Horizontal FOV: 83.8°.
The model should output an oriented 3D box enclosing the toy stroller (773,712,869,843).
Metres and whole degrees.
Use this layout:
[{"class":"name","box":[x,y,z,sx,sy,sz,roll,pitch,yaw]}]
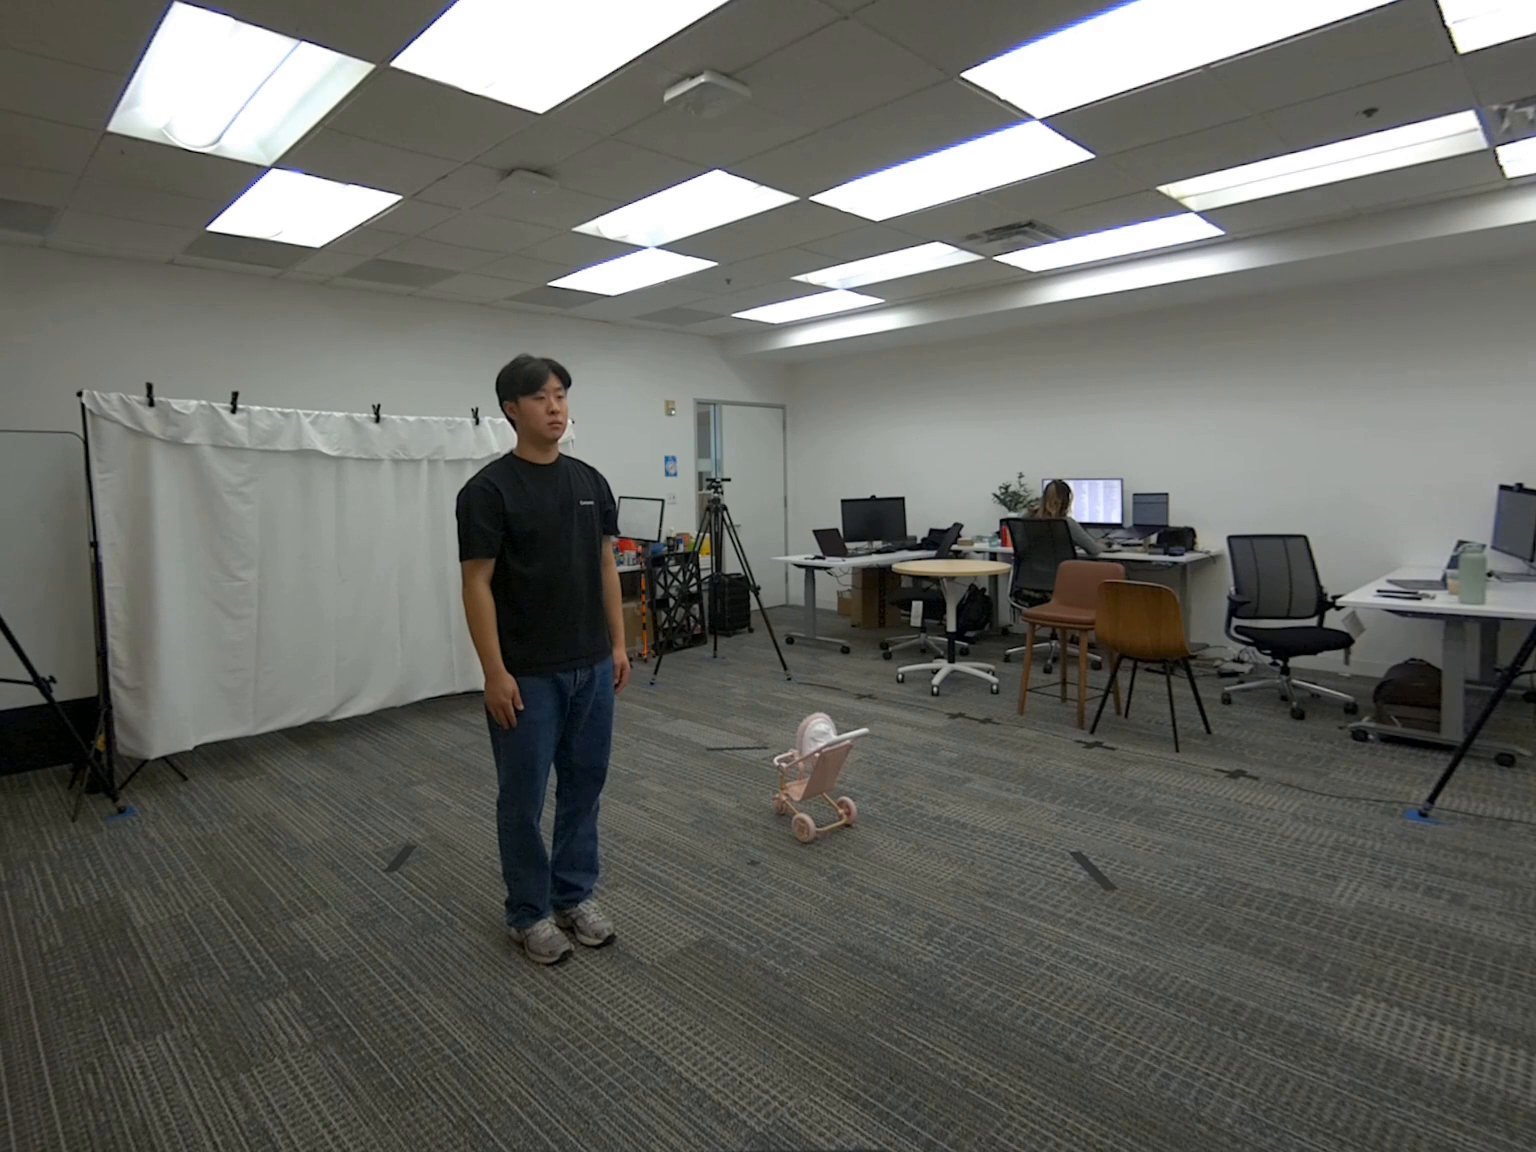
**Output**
[{"class":"toy stroller","box":[0.185,0.779,3.398,0.274,0.528,0.354,-4,21,-38]}]
